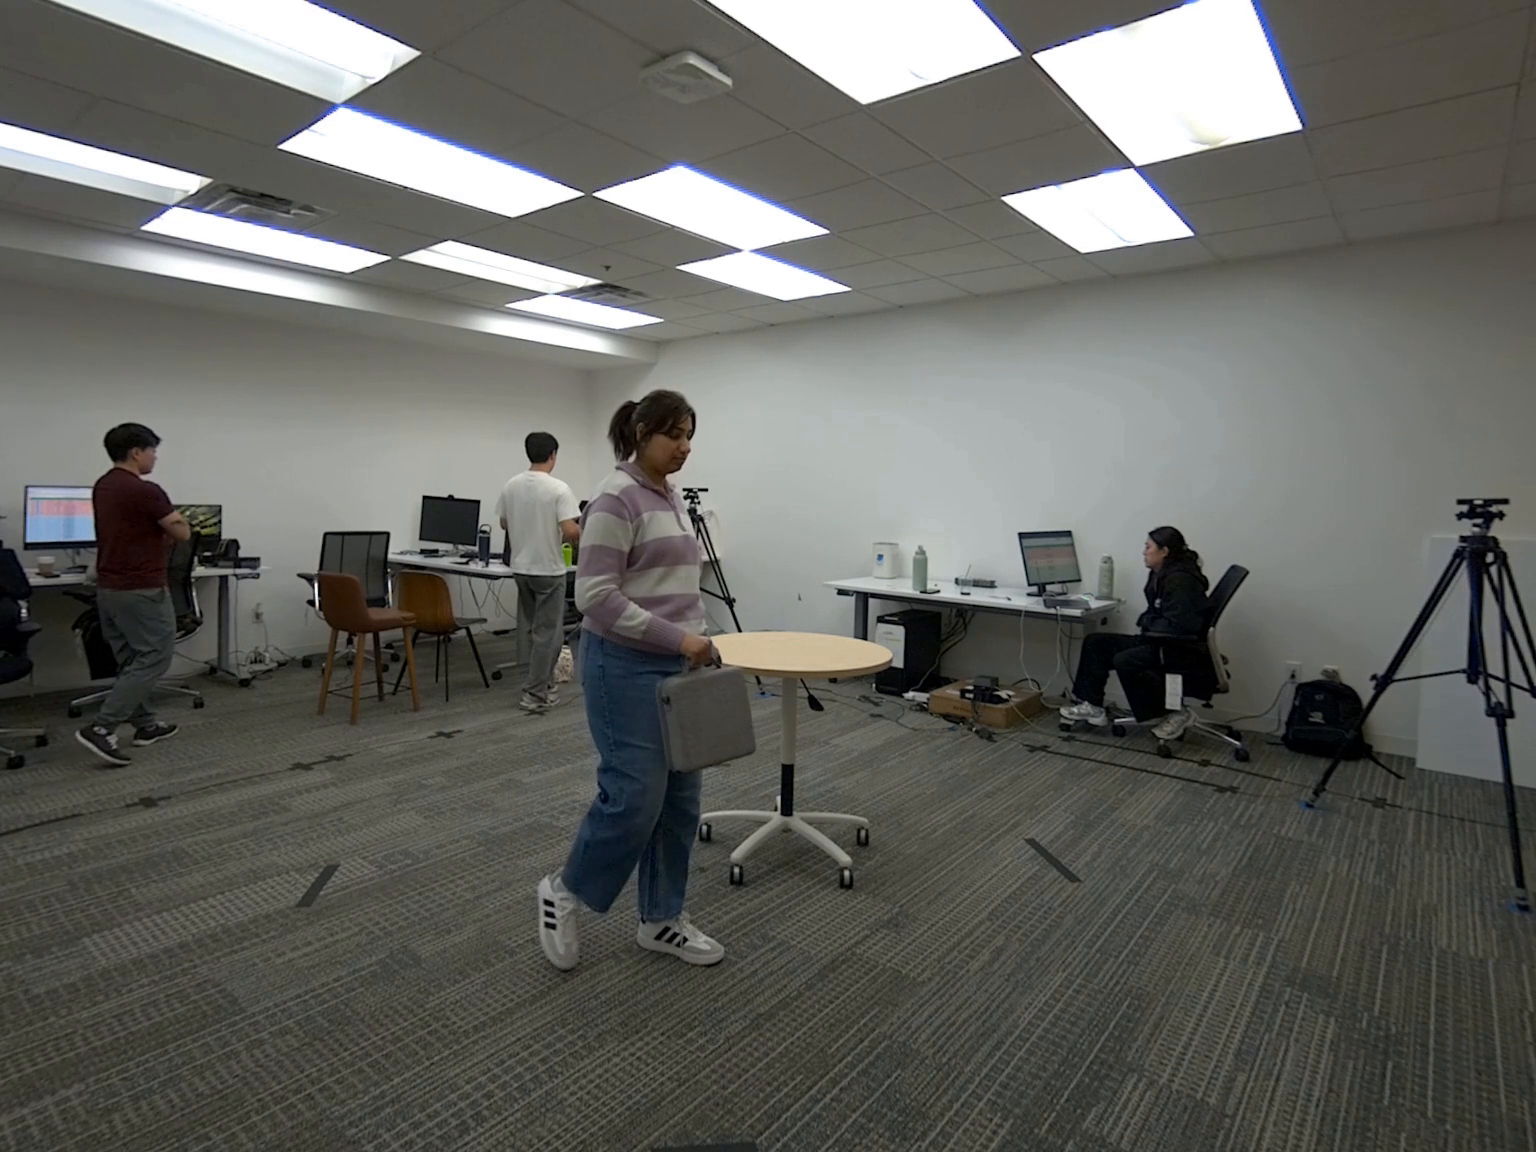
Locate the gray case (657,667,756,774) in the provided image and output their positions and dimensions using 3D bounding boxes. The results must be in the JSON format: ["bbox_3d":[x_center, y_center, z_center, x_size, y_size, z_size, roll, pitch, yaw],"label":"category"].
[{"bbox_3d":[-0.183,0.378,2.323,0.250,0.262,0.107,-7,-4,-37],"label":"gray case"}]
